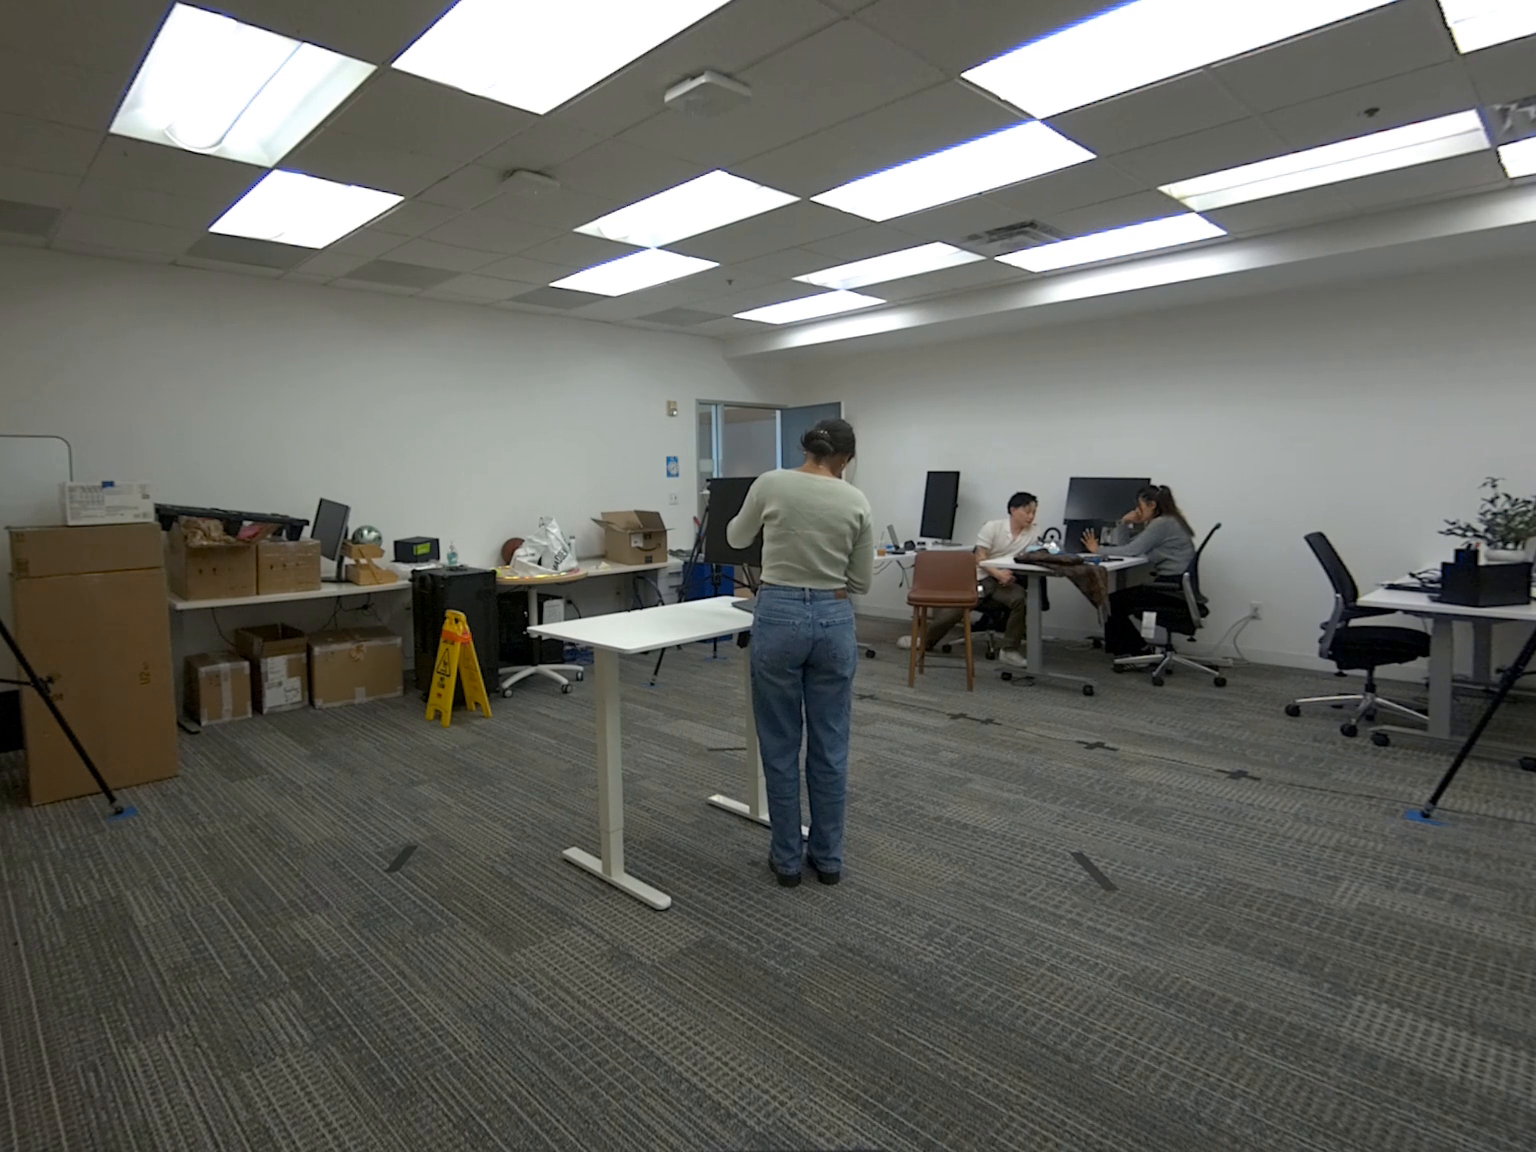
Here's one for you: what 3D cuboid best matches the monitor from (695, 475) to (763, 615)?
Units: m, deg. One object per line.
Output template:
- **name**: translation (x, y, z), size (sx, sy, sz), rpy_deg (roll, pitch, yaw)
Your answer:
- **monitor**: translation (-0.025, -0.127, 3.349), size (0.183, 0.519, 0.555), rpy_deg (-10, 9, -40)
